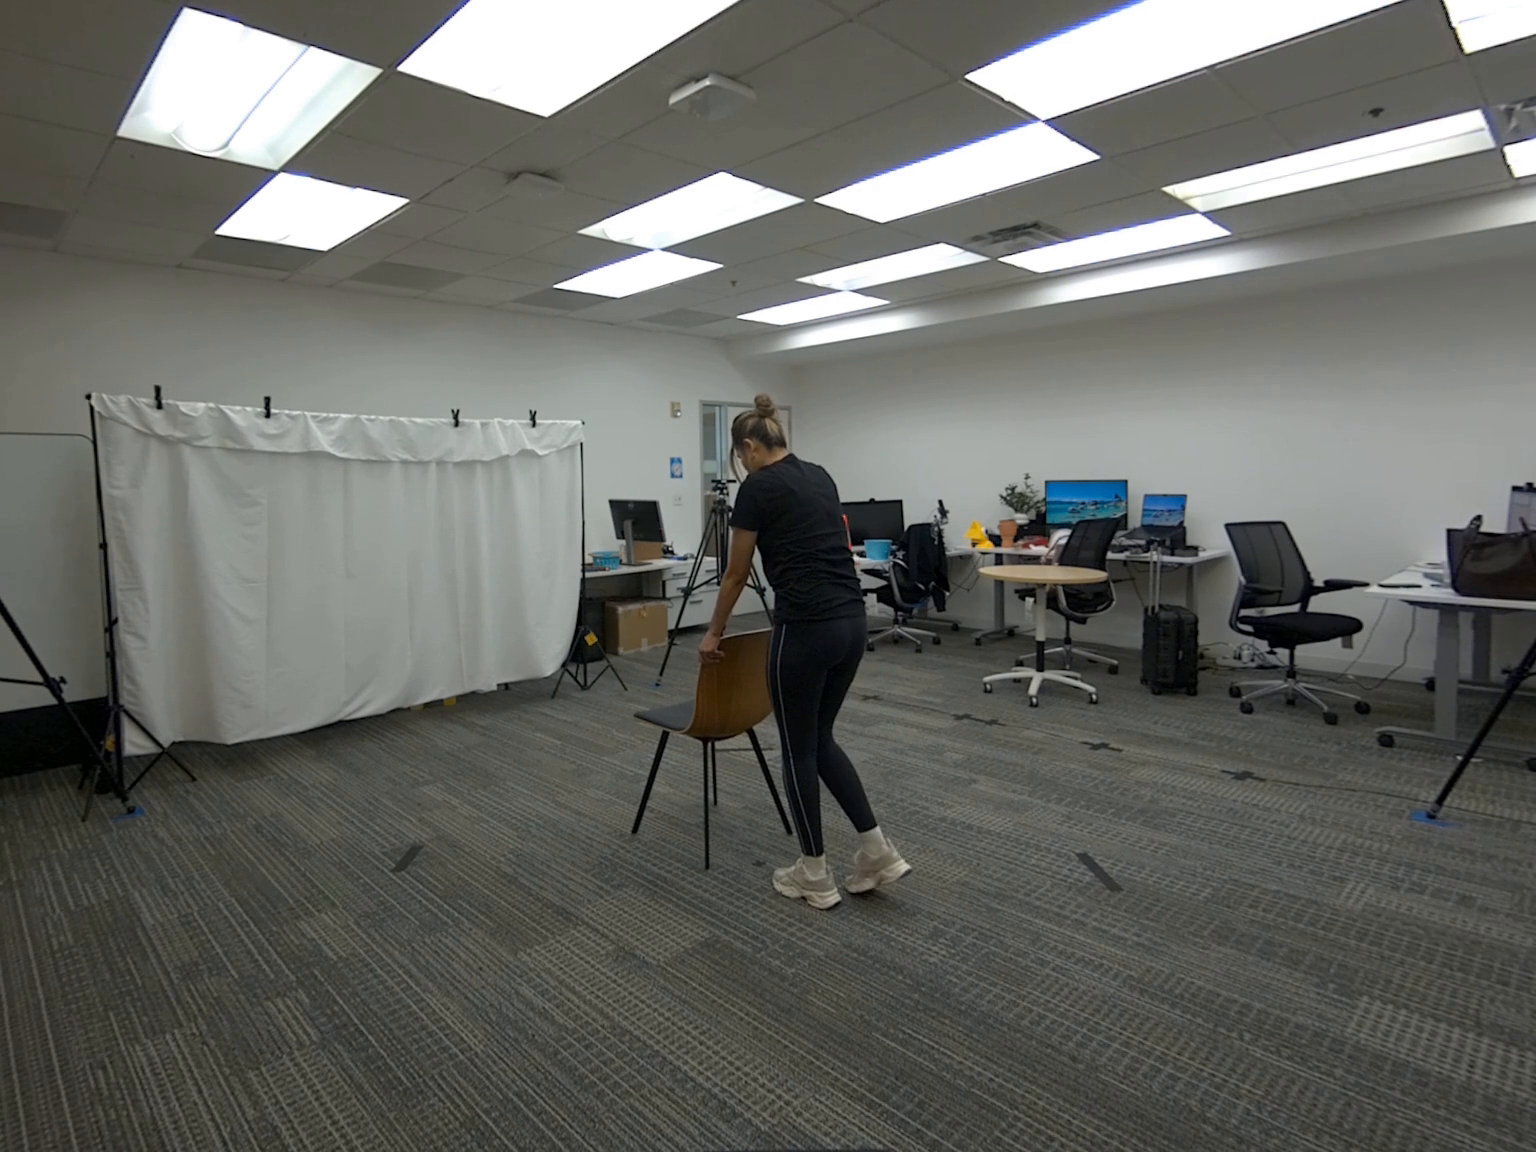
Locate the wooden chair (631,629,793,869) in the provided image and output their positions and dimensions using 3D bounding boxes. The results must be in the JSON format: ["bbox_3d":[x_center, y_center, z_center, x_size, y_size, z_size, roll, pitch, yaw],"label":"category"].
[{"bbox_3d":[-0.234,0.597,3.353,0.465,0.872,0.540,-5,10,-44],"label":"wooden chair"}]
